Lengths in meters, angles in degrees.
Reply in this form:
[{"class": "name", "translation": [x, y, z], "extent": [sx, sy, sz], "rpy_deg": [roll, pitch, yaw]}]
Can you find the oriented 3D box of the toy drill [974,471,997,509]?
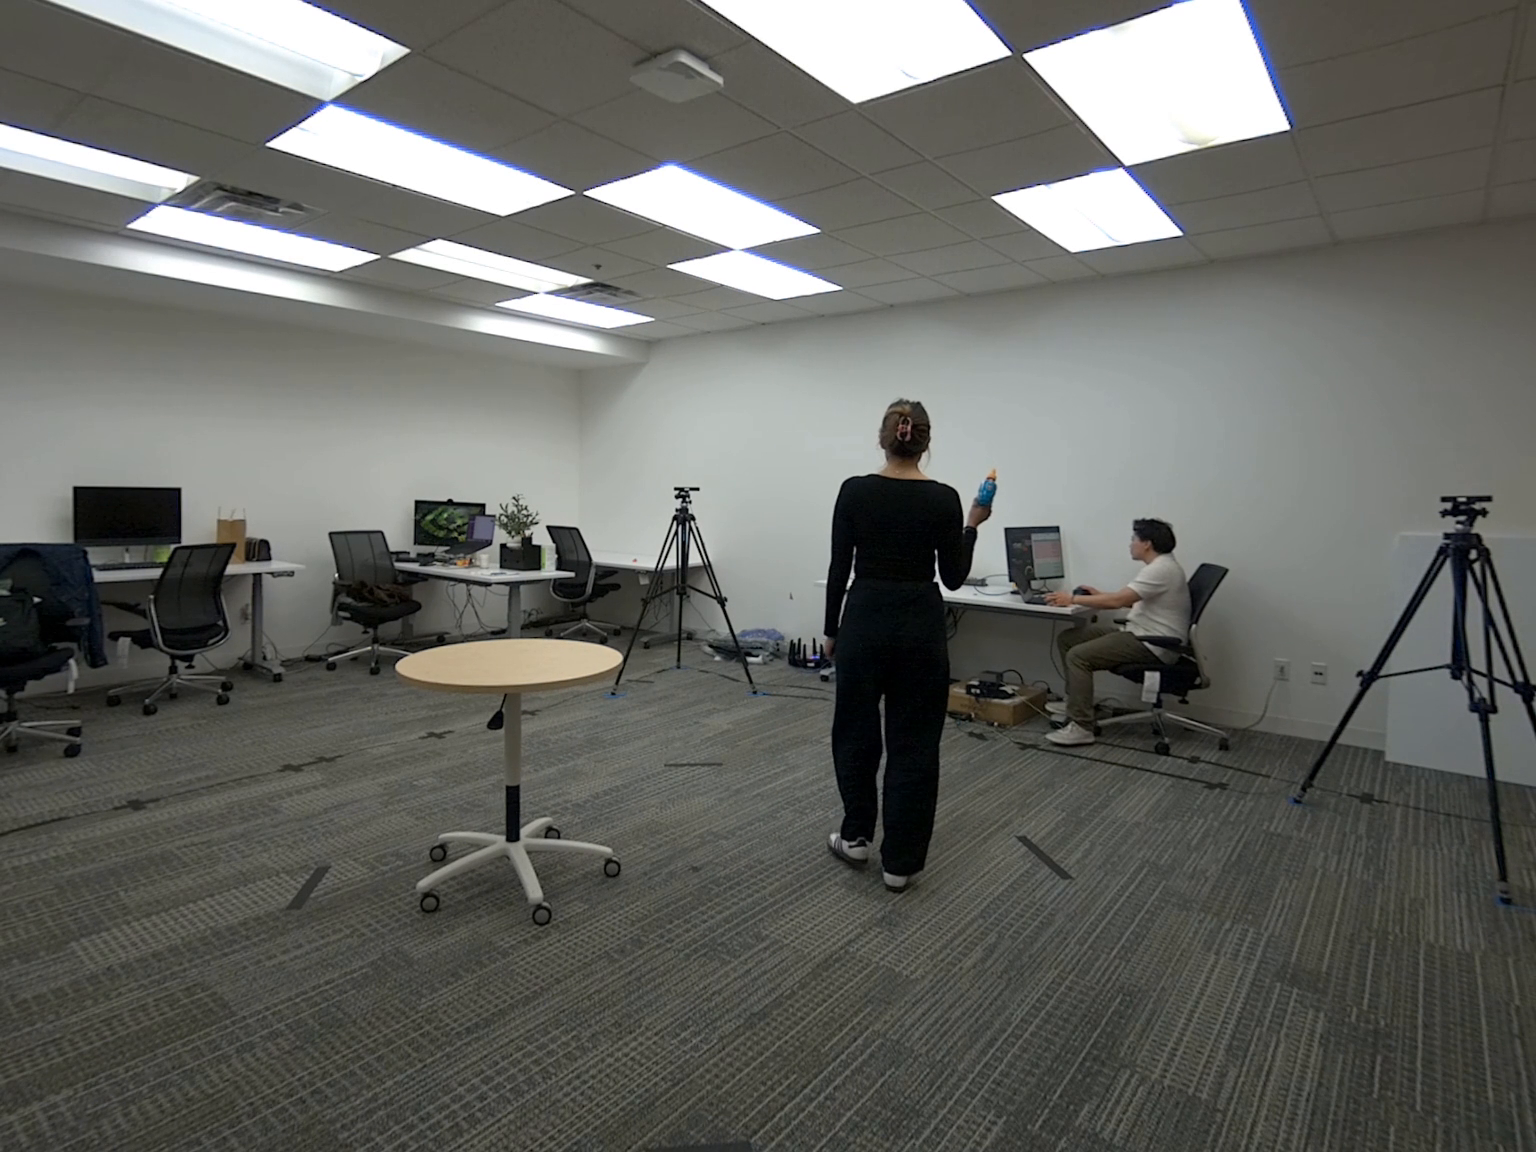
[{"class": "toy drill", "translation": [0.803, -0.314, 3.147], "extent": [0.062, 0.172, 0.142], "rpy_deg": [17, -25, 8]}]
